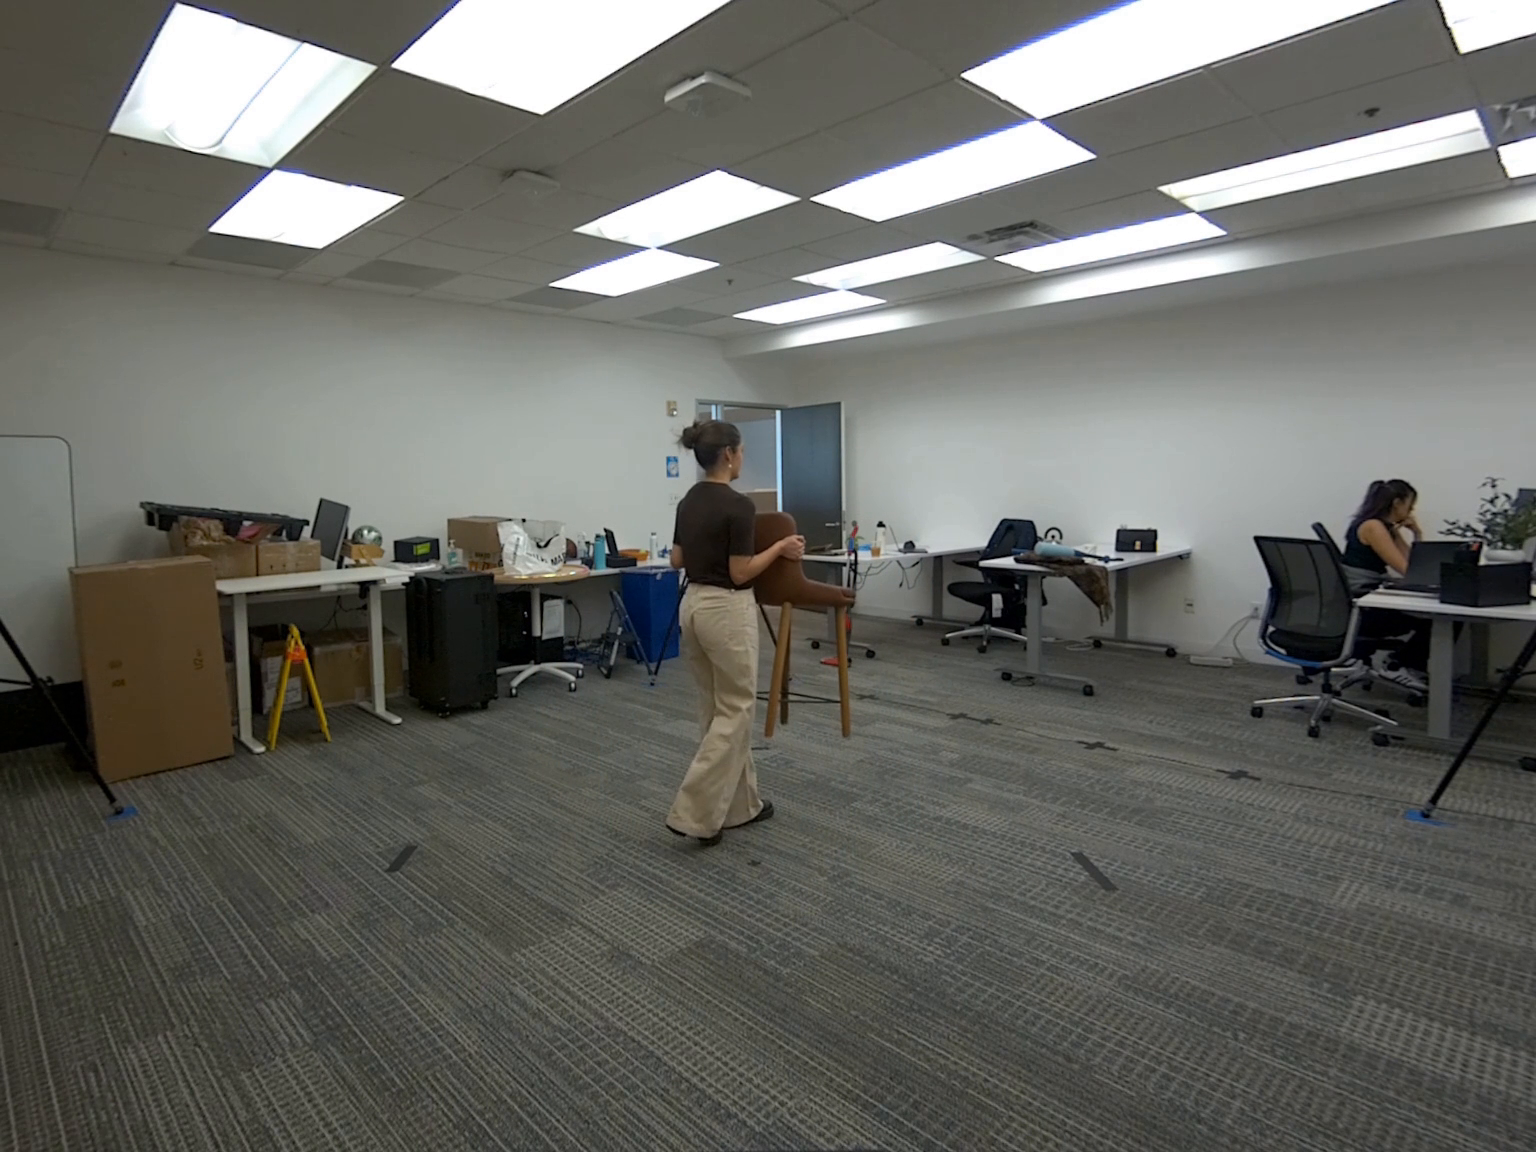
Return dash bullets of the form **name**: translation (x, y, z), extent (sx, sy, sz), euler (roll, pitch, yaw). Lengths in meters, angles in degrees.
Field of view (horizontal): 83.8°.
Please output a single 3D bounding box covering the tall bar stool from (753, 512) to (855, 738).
- **tall bar stool**: translation (0.074, 0.210, 3.578), extent (0.453, 0.894, 0.469), euler (7, -7, -39)
